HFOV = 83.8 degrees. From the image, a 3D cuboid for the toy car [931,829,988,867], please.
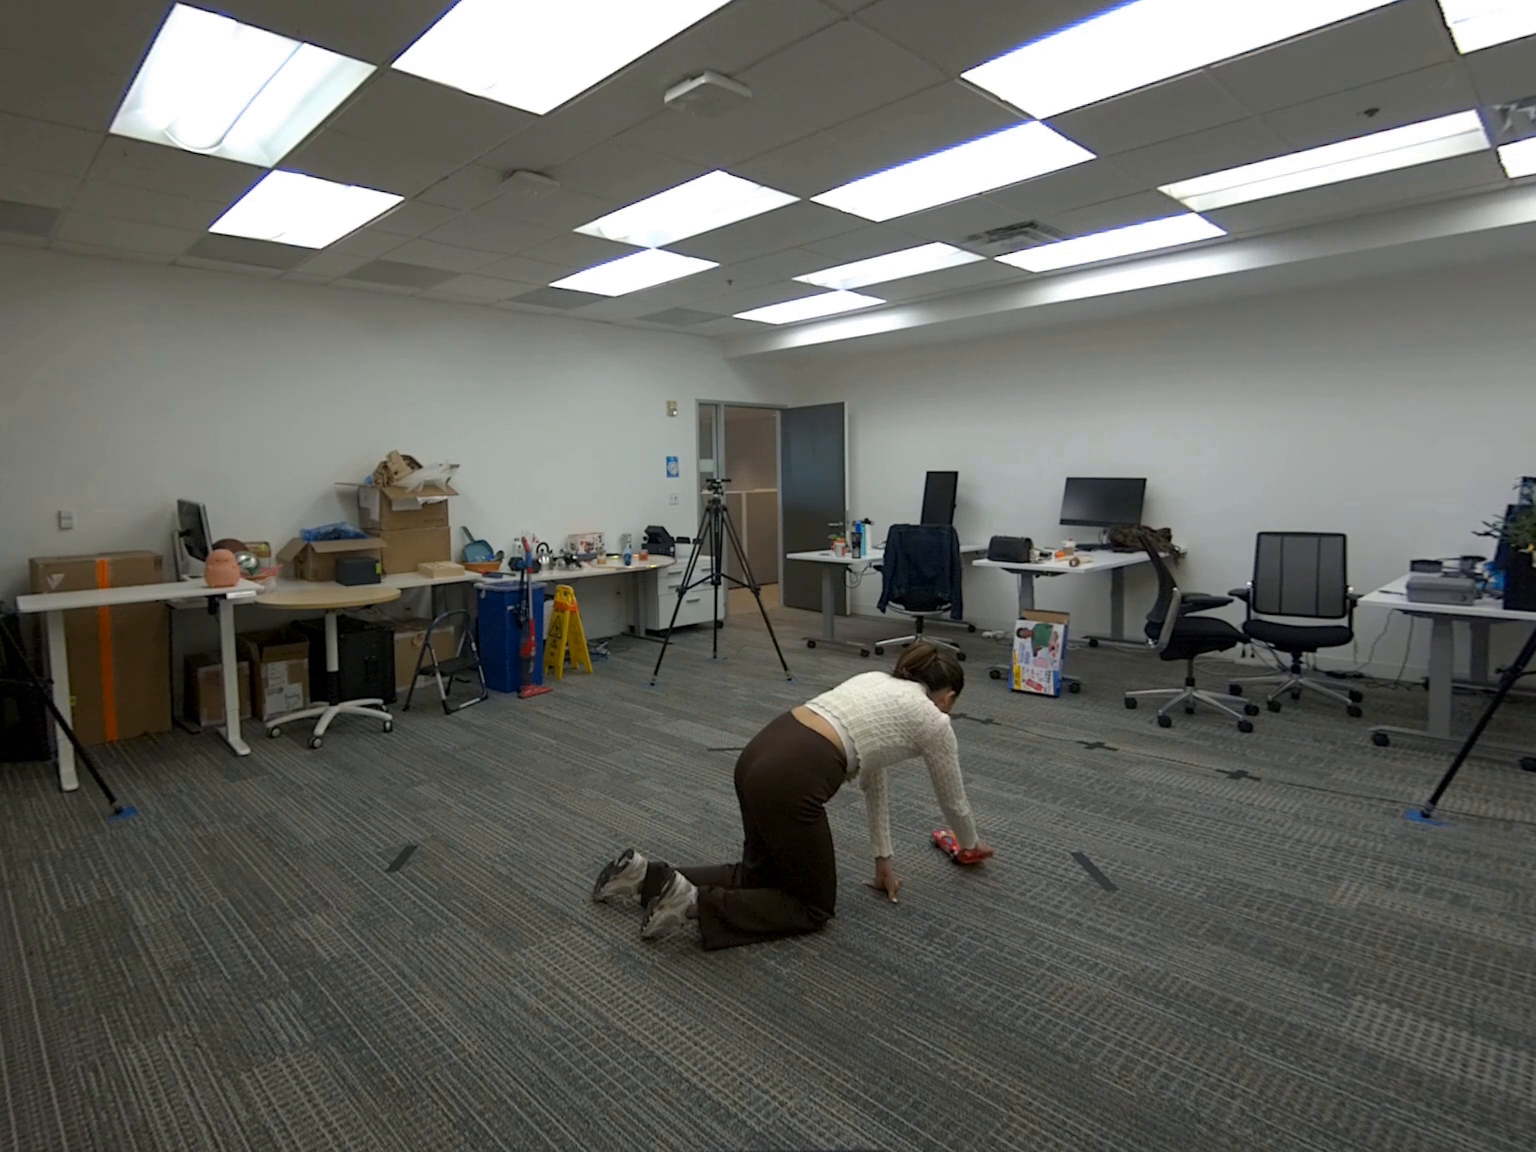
[{"bbox_3d":[0.706,0.995,3.134,0.128,0.084,0.257,-3,-5,-16],"label":"toy car"}]
